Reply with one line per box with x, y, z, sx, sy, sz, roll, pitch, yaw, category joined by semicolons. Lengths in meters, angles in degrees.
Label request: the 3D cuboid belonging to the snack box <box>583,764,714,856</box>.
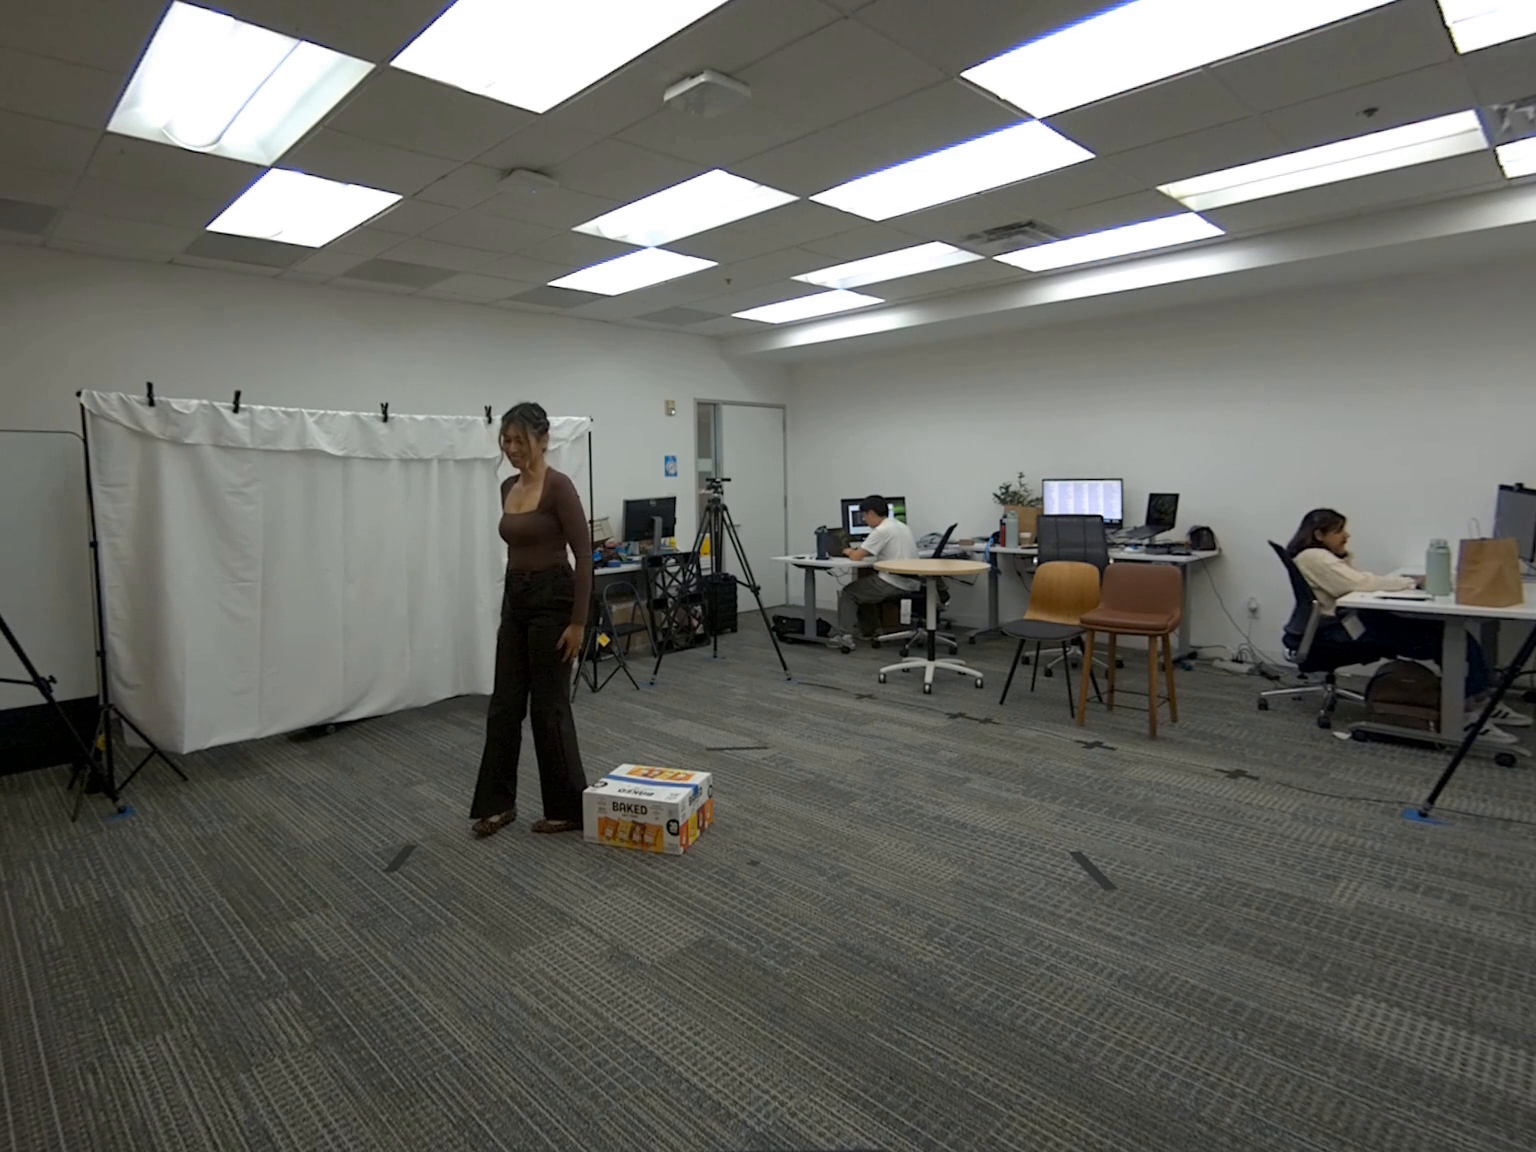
-0.468;0.914;3.385;0.413;0.205;0.335;1;6;19;snack box
